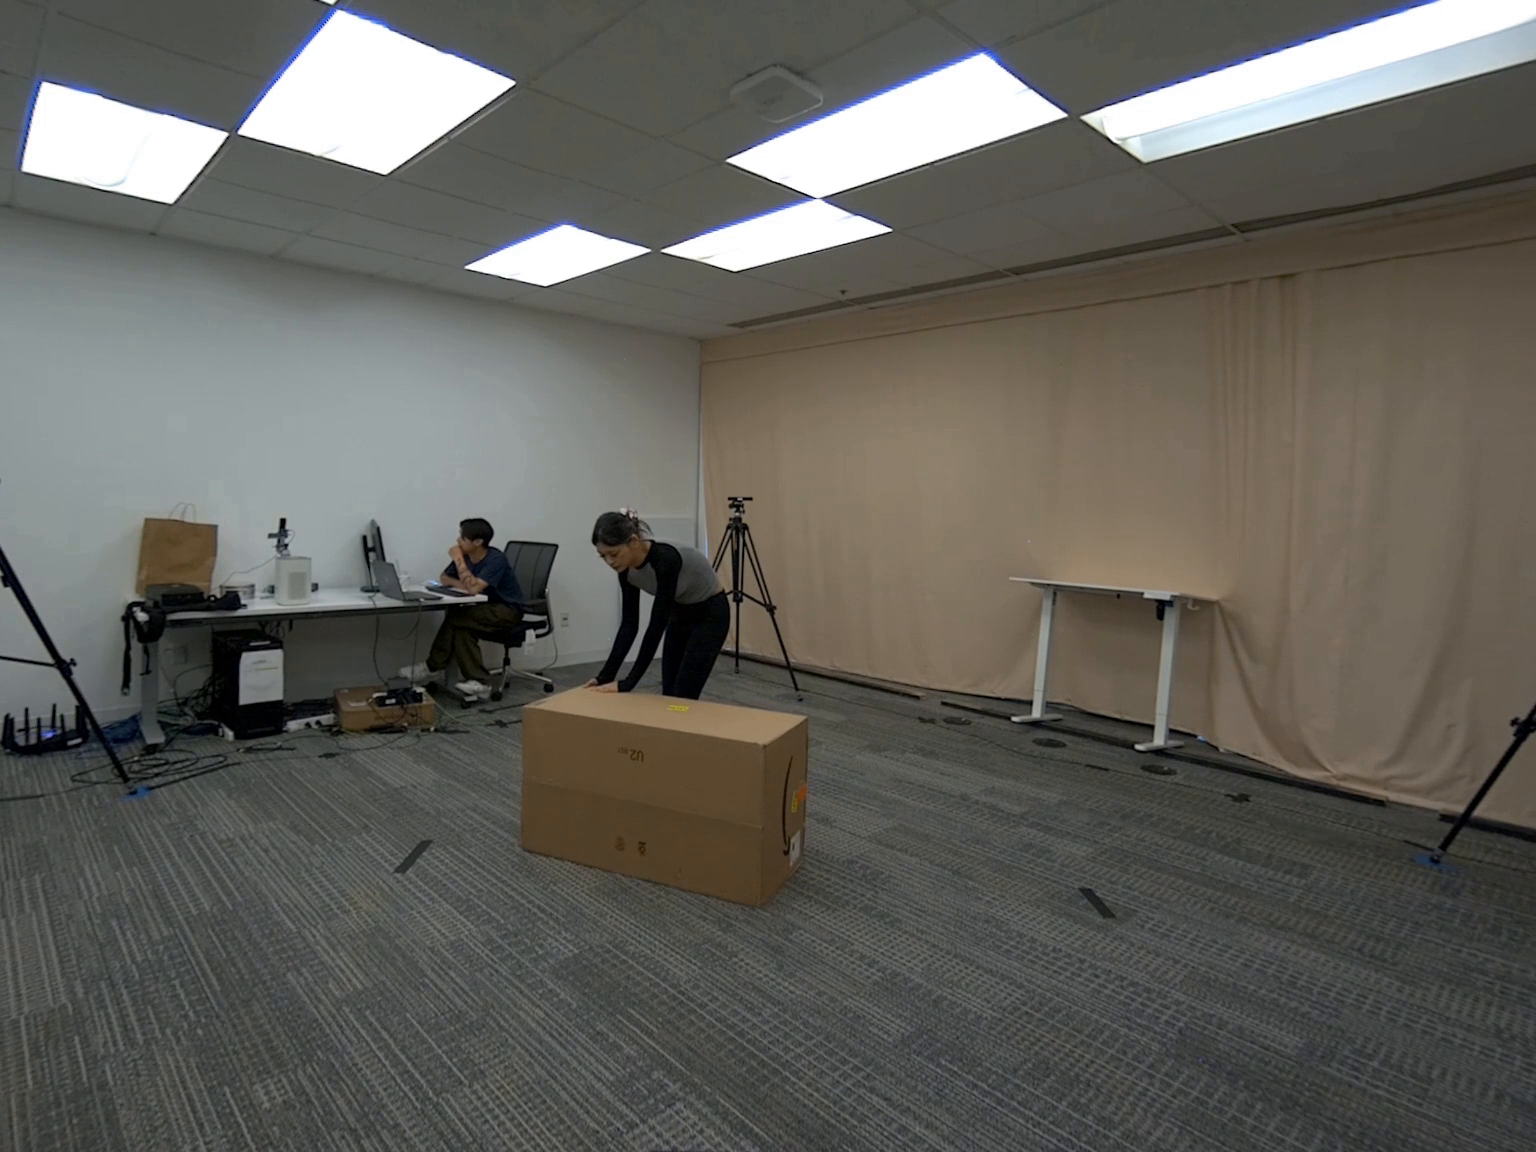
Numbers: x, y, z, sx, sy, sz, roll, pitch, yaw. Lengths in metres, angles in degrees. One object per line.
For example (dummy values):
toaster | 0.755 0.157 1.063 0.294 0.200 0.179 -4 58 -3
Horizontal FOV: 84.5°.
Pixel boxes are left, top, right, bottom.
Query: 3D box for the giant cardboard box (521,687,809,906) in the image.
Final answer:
giant cardboard box | -0.405 0.801 3.239 1.046 0.583 0.439 4 4 24
